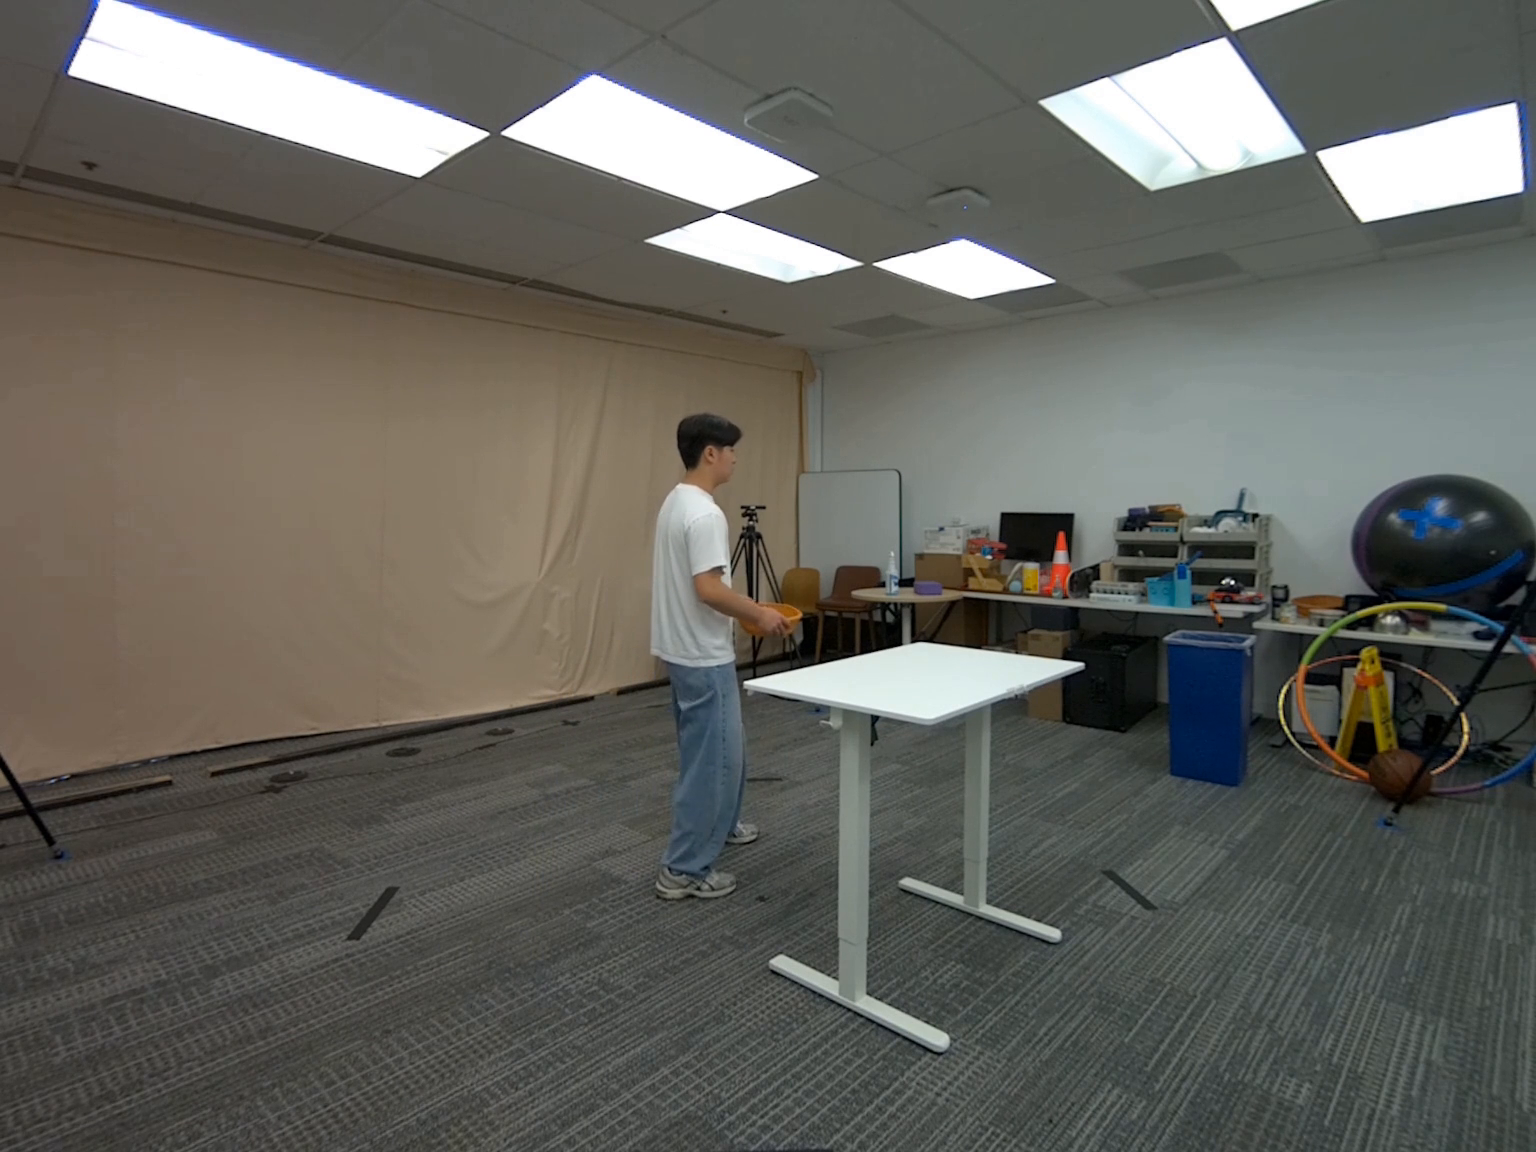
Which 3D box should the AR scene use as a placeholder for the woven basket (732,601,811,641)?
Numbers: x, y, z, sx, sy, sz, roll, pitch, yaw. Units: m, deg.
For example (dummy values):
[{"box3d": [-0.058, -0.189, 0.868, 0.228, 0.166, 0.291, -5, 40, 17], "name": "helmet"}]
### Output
[{"box3d": [-0.034, 0.166, 3.254, 0.247, 0.073, 0.359, -4, 8, -23], "name": "woven basket"}]
